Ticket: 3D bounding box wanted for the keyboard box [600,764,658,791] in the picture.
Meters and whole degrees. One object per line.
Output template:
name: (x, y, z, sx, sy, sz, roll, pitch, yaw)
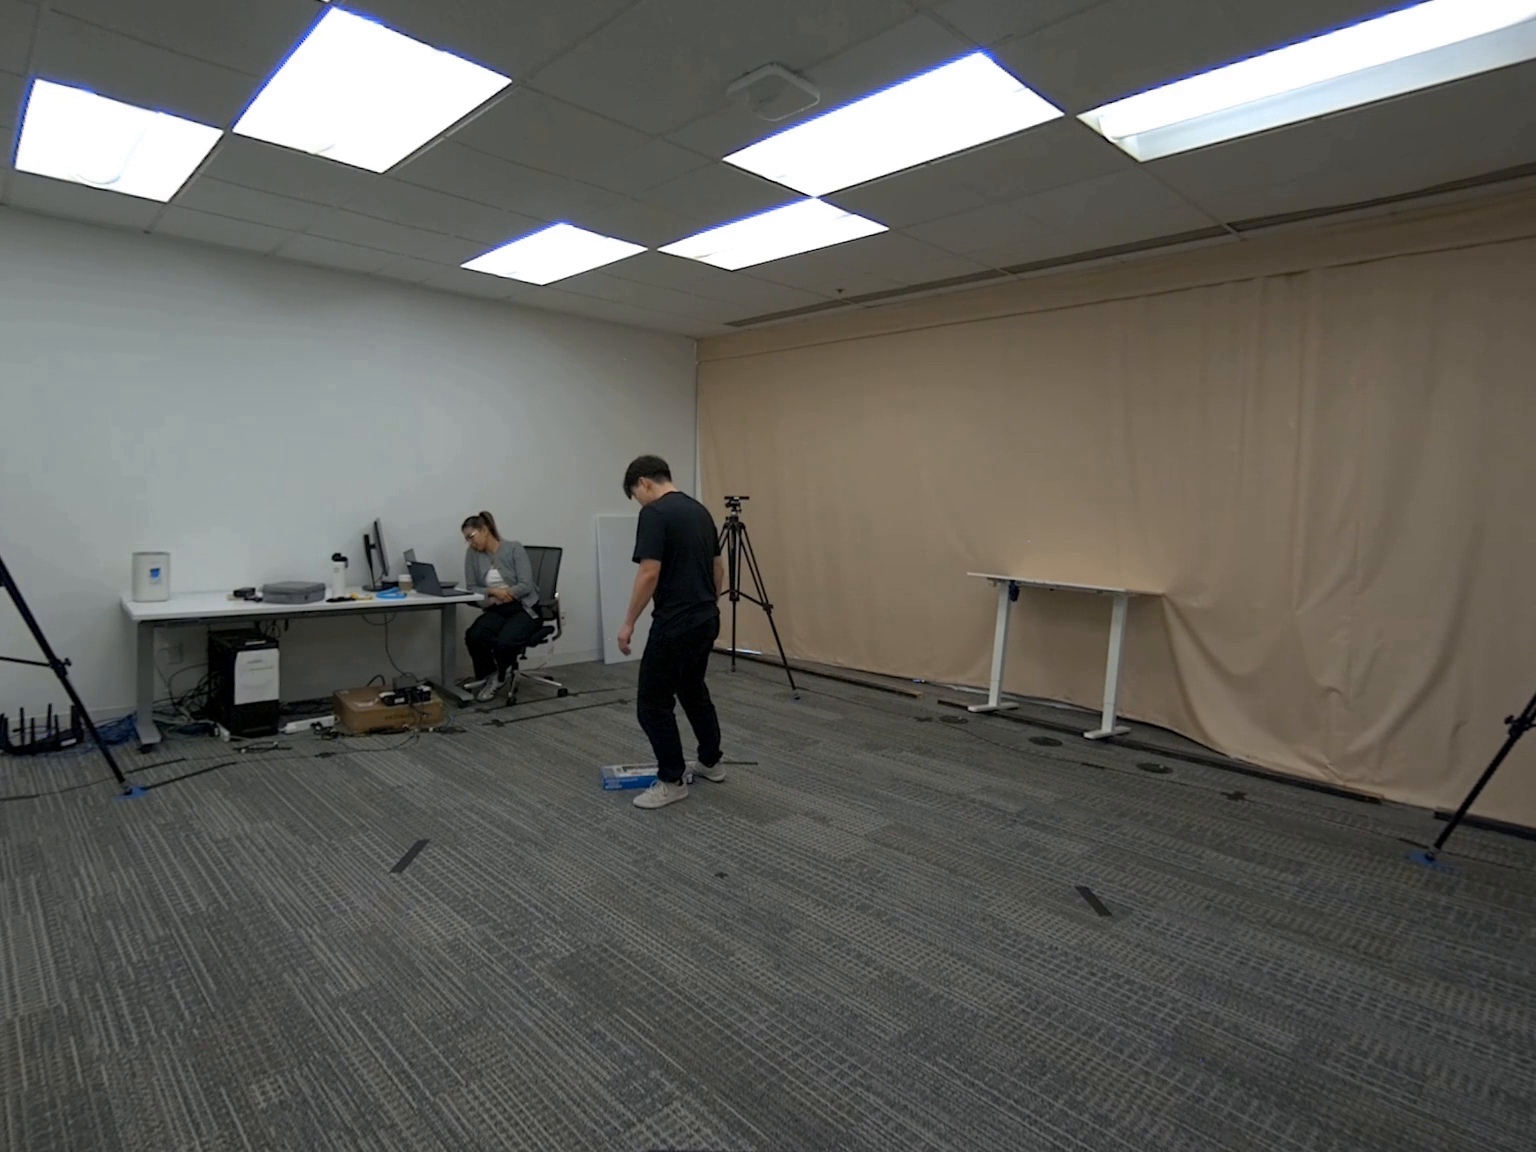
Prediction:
keyboard box: (-0.612, 0.974, 4.113, 0.431, 0.059, 0.179, 0, 6, -17)
